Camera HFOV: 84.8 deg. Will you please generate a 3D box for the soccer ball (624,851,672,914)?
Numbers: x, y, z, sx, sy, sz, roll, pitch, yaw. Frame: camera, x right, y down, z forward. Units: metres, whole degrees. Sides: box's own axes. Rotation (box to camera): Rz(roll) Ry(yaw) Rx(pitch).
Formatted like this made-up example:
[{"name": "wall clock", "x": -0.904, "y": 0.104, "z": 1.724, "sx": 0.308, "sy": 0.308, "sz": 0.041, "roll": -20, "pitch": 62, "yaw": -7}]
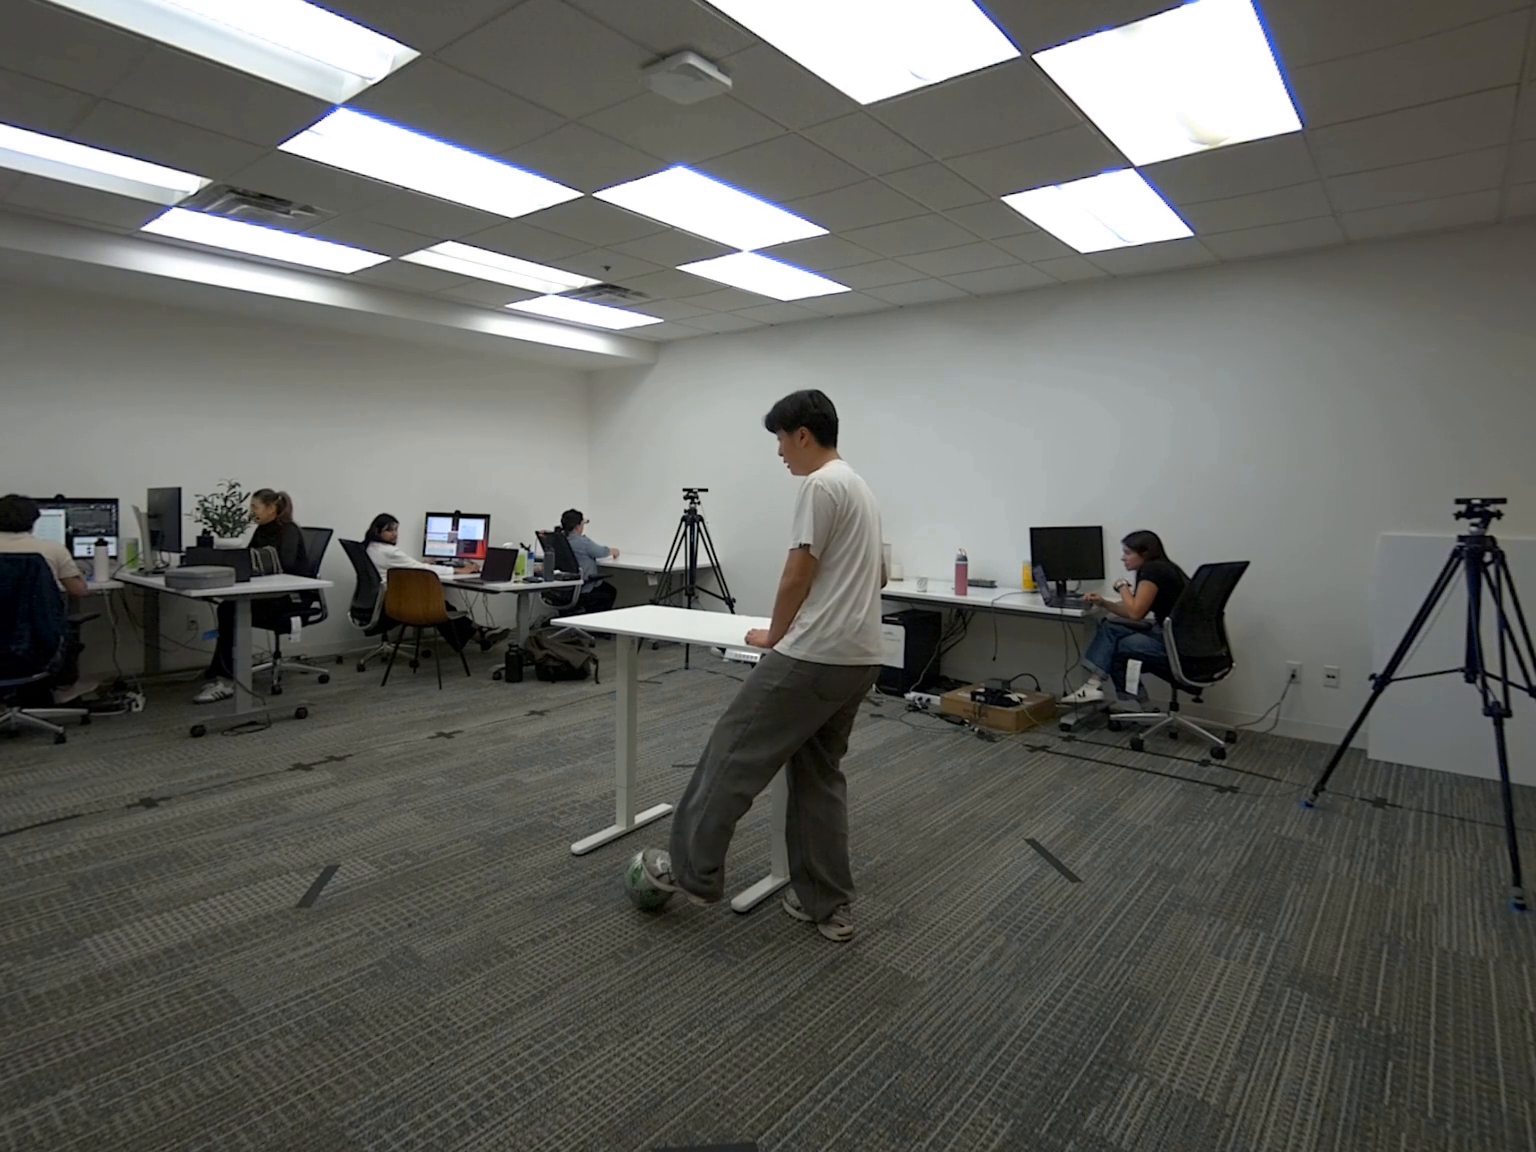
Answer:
[{"name": "soccer ball", "x": -0.386, "y": 0.993, "z": 2.825, "sx": 0.187, "sy": 0.187, "sz": 0.188, "roll": 1, "pitch": 4, "yaw": -2}]
